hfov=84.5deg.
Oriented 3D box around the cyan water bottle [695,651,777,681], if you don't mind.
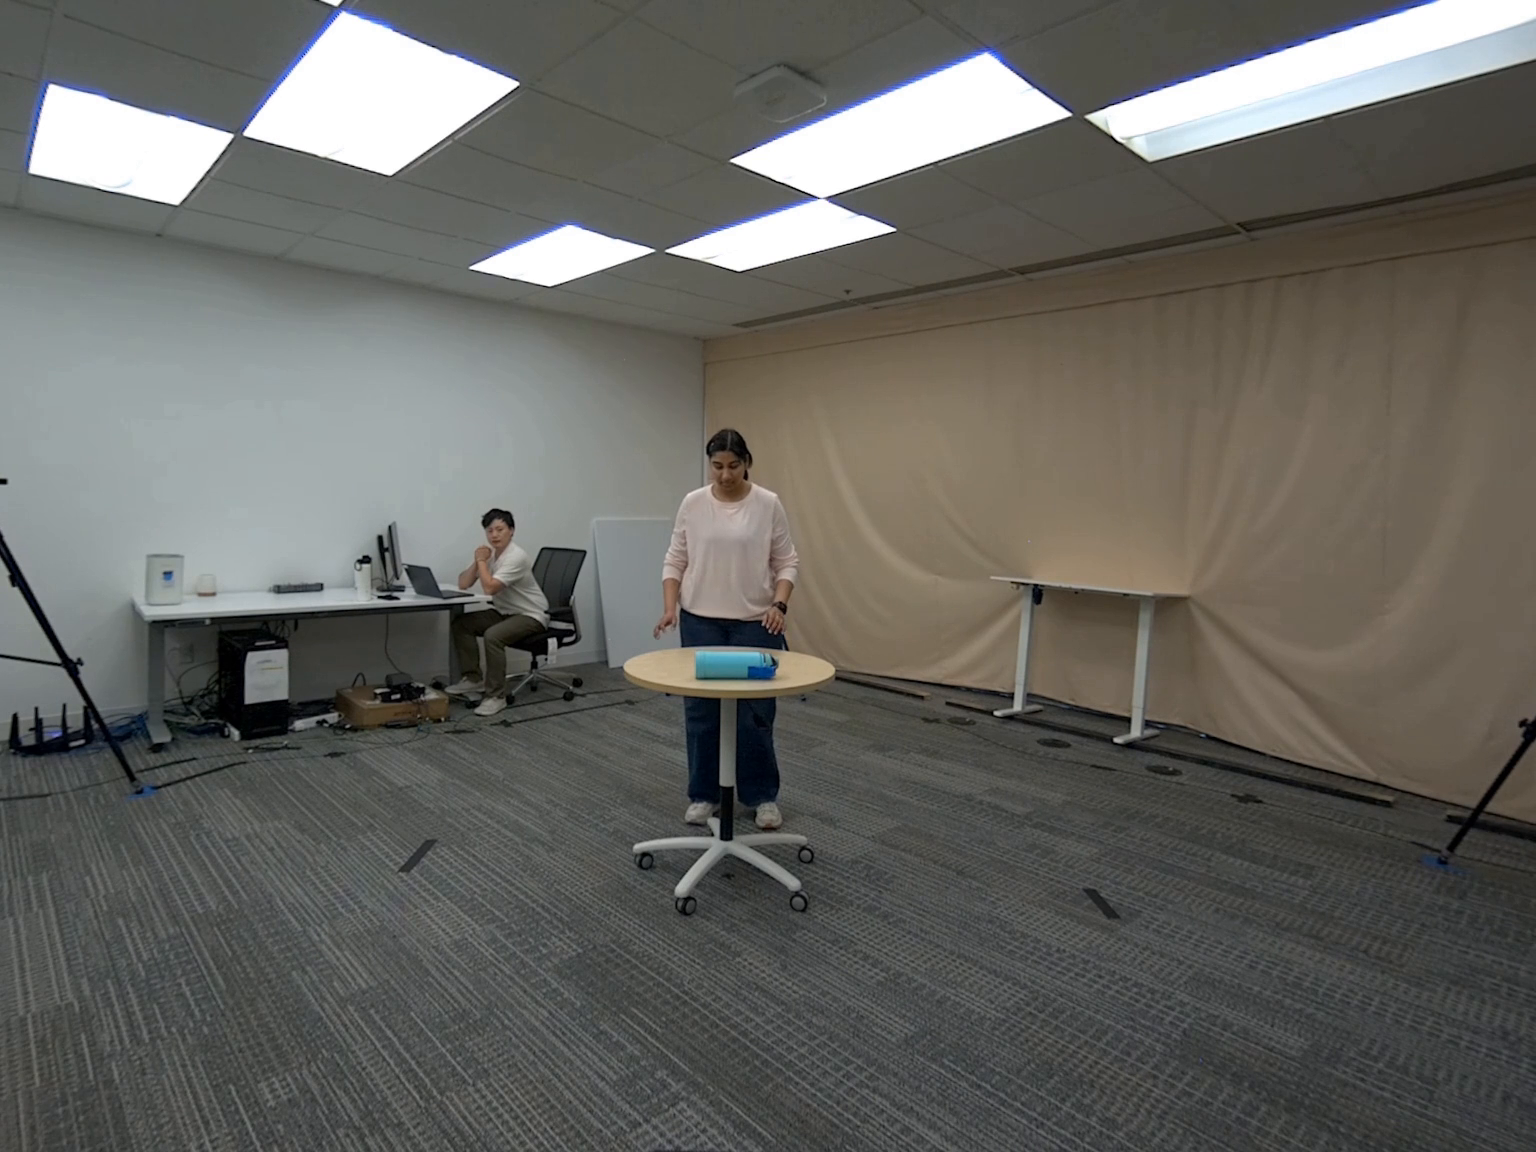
[{"bbox_3d":[-0.118,0.306,2.847,0.283,0.092,0.093,1,4,-3],"label":"cyan water bottle"}]
